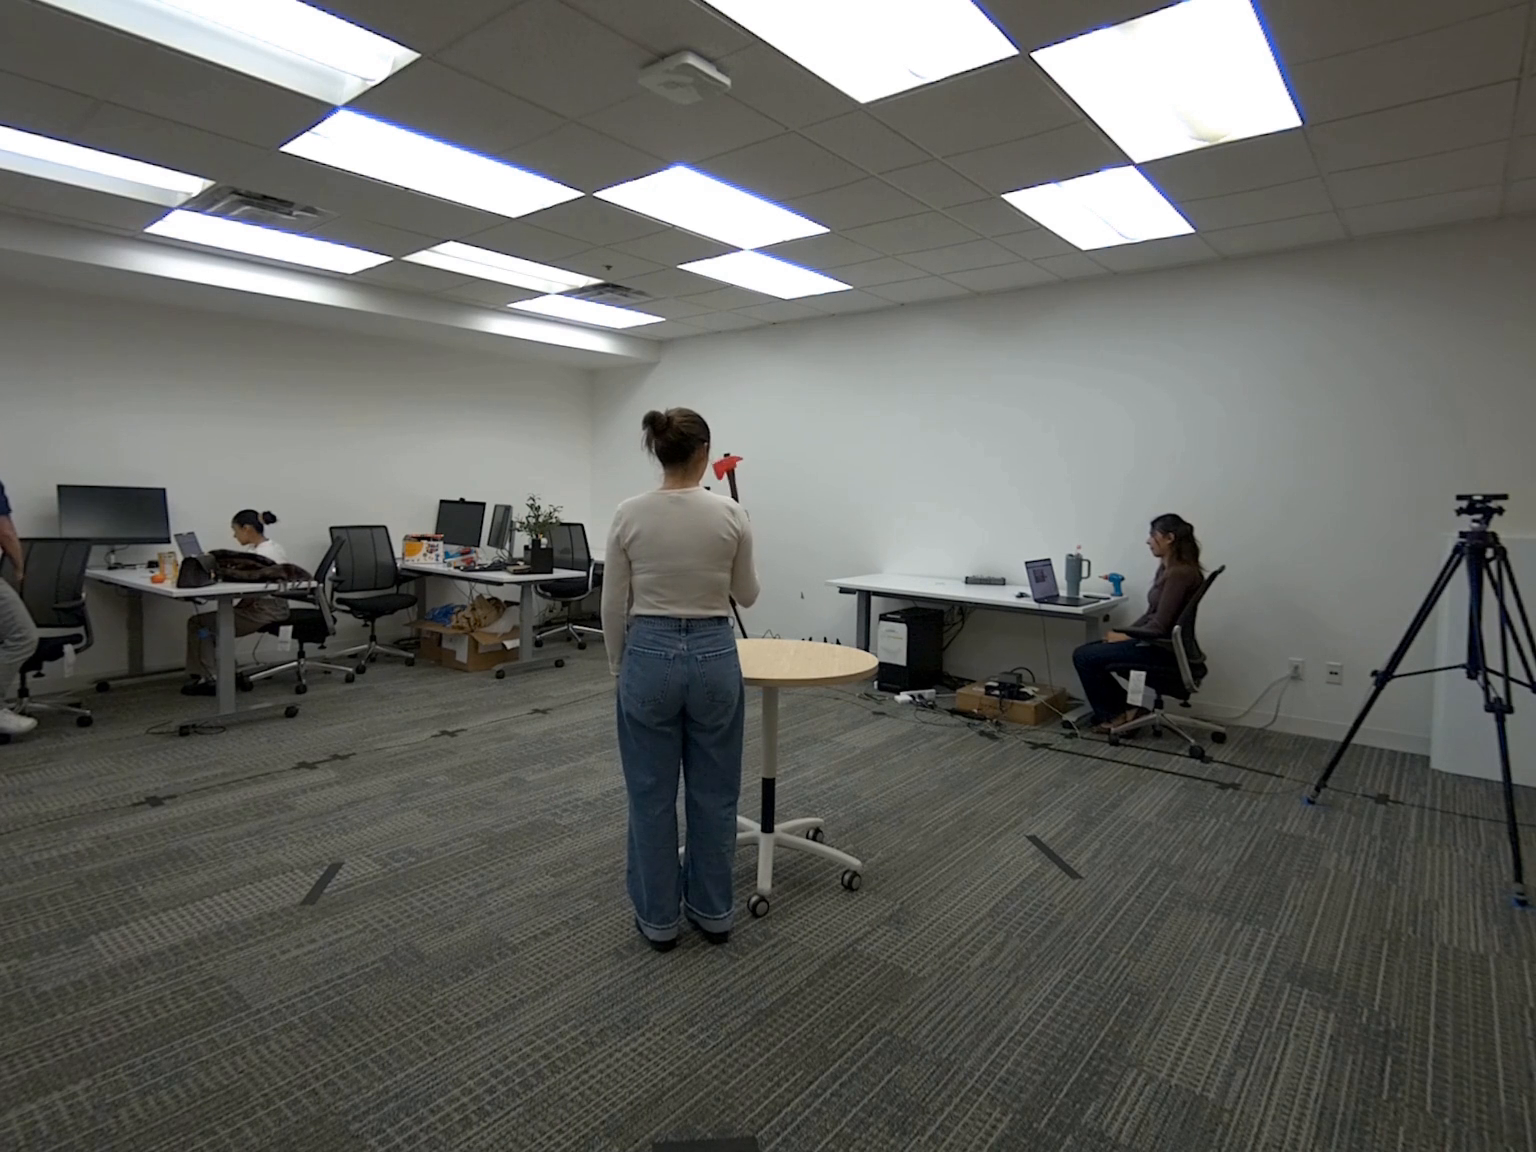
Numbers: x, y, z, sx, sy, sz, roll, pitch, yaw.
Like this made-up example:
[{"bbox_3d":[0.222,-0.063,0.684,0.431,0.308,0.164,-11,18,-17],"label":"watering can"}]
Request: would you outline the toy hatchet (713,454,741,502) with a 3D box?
[{"bbox_3d":[-0.146,-0.275,2.810,0.127,0.270,0.030,5,-2,-41],"label":"toy hatchet"}]
